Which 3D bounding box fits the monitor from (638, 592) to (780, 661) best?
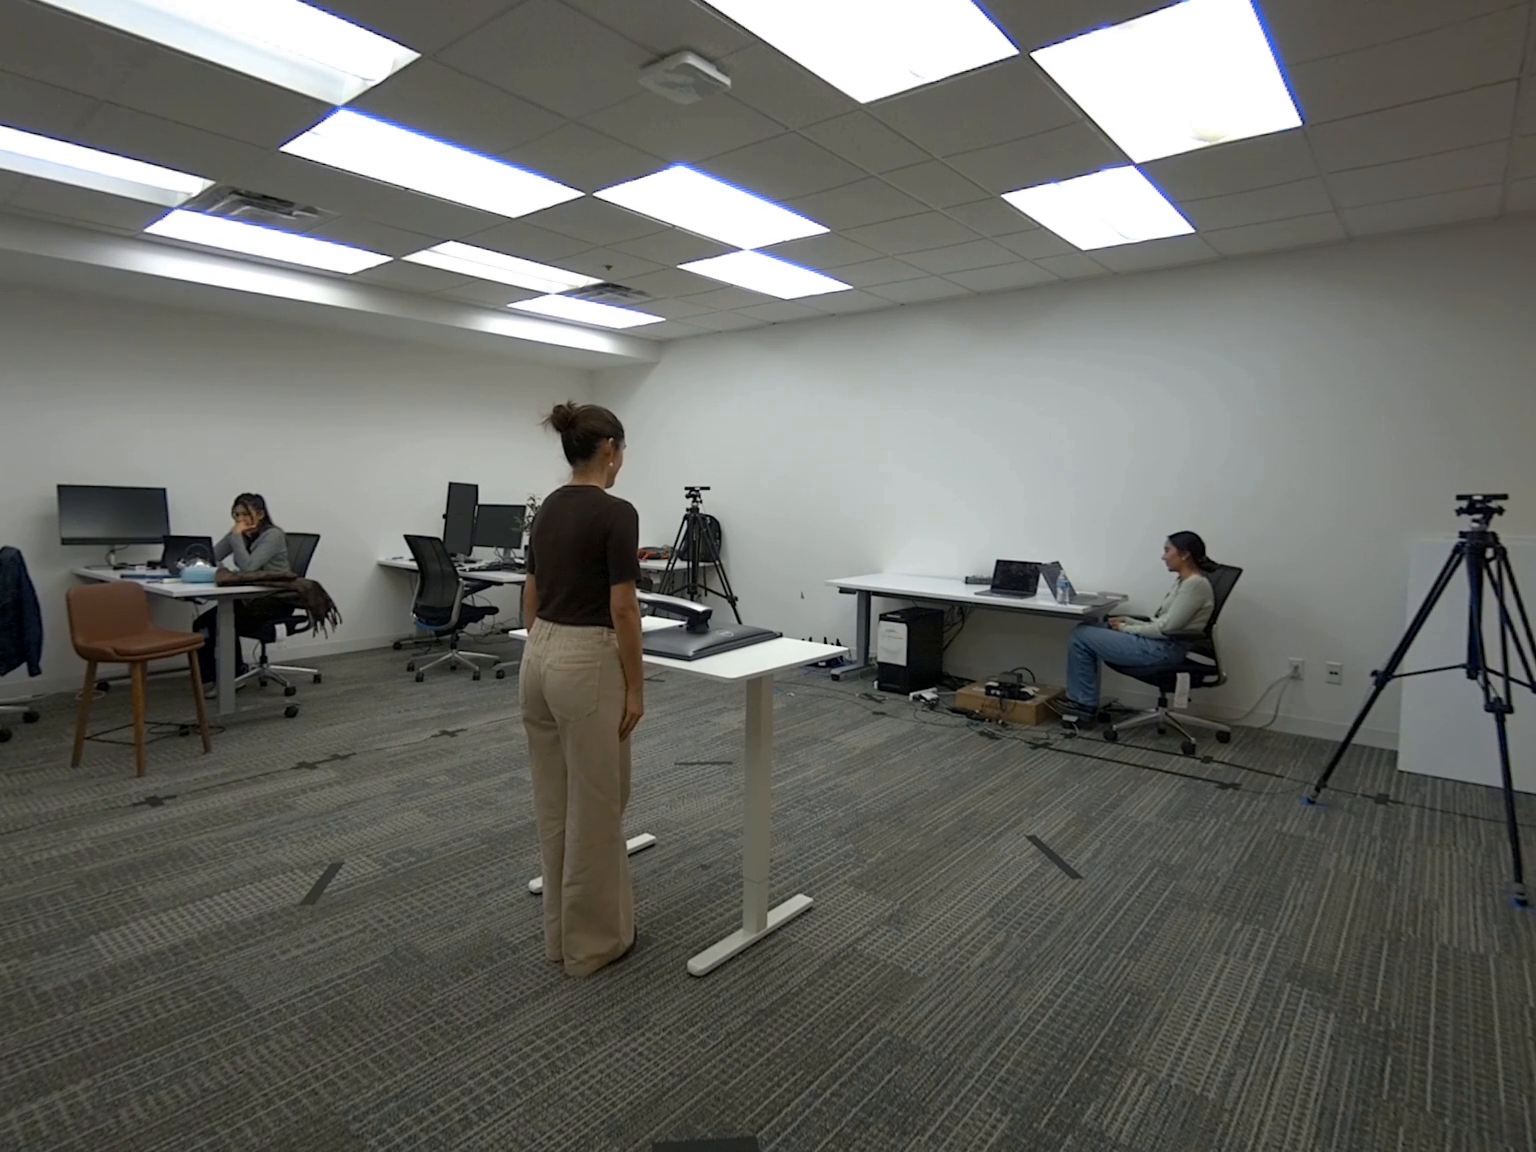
[{"bbox_3d":[-0.312,0.154,2.848,0.542,0.185,0.525,19,17,32],"label":"monitor"}]
